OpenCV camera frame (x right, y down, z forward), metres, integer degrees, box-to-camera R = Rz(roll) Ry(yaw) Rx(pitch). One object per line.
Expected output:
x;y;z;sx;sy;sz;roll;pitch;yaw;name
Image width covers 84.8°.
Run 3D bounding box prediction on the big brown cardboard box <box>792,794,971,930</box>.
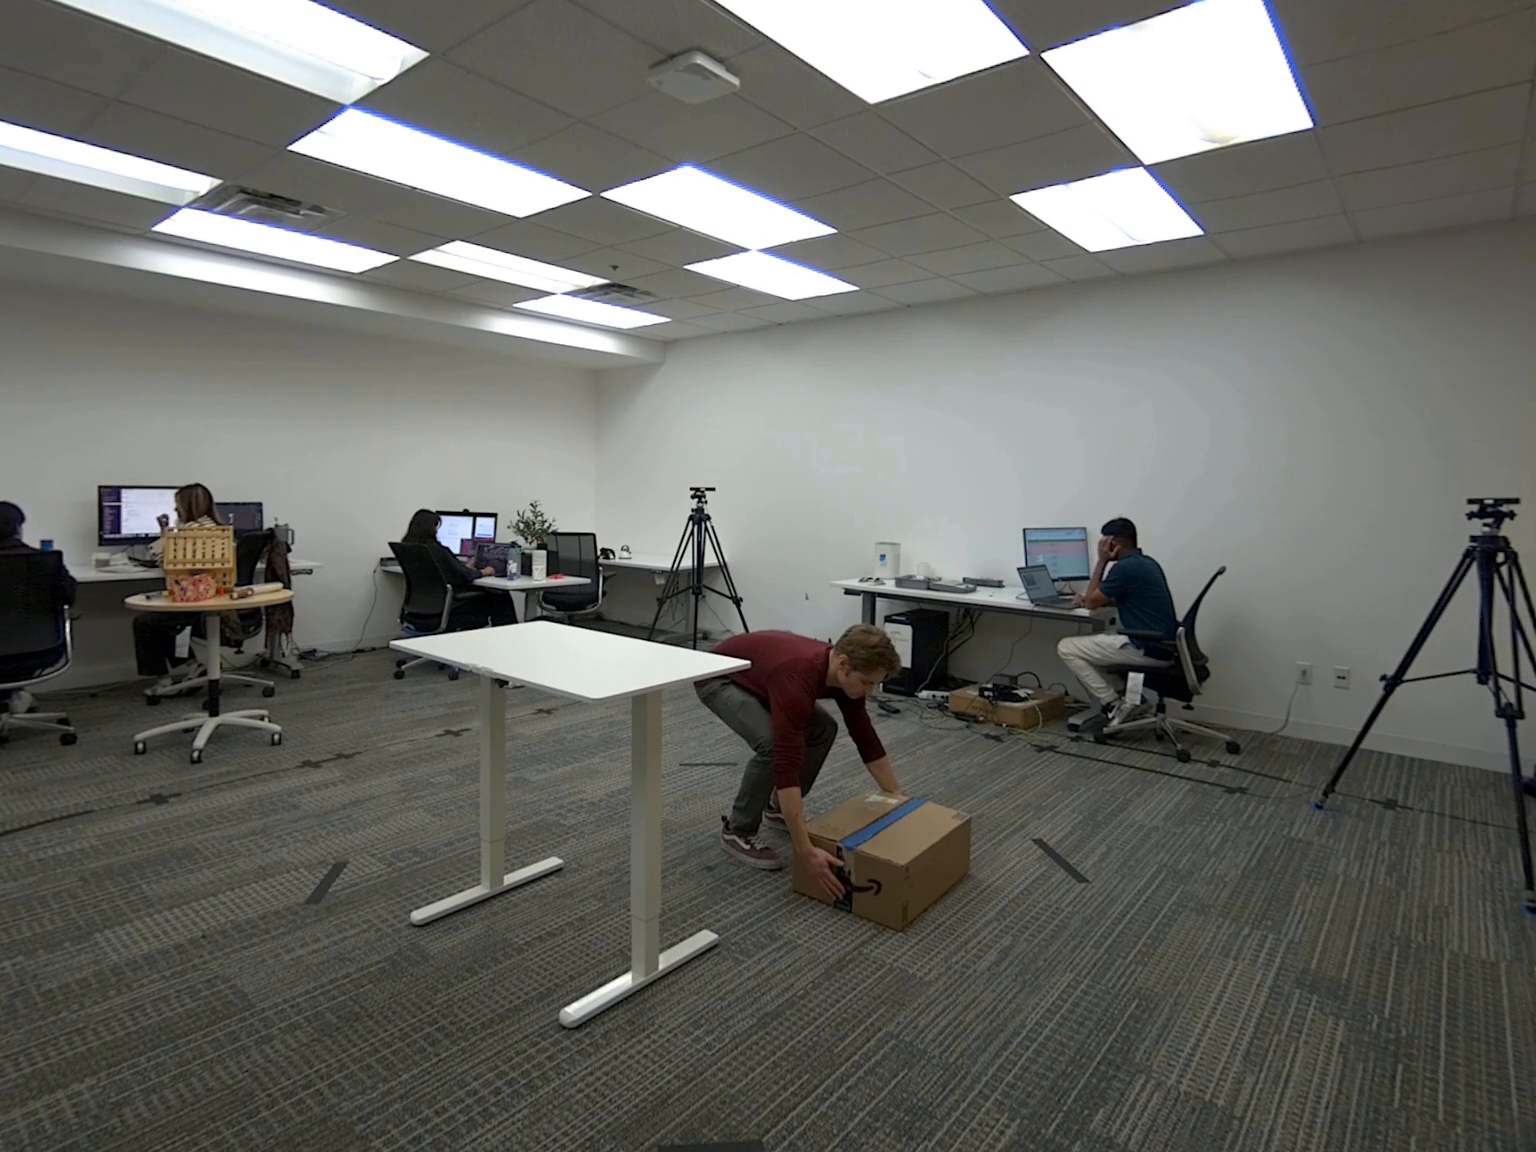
0.409;0.977;3.032;0.431;0.232;0.572;5;7;36;big brown cardboard box
